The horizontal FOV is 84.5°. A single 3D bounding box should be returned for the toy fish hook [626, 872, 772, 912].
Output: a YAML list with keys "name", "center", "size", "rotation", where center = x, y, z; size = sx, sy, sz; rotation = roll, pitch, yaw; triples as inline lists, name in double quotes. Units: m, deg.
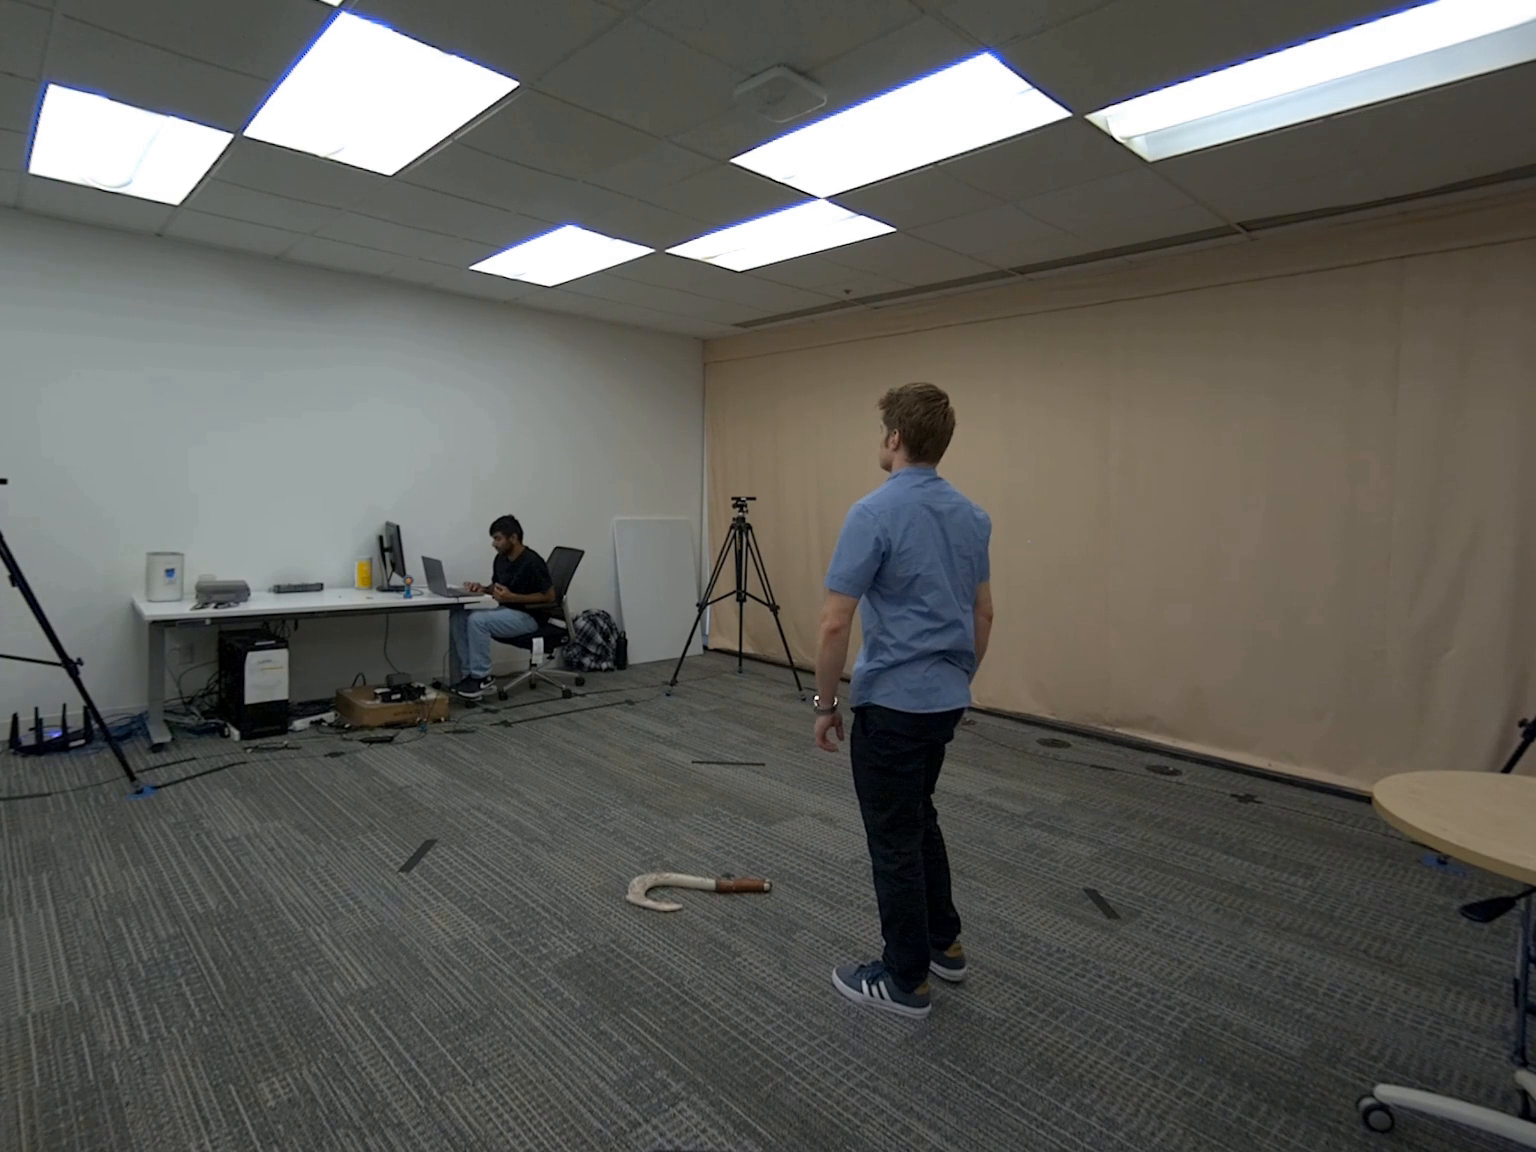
- name: "toy fish hook"
  center: [-0.242, 1.105, 2.931]
  size: [0.506, 0.048, 0.227]
  rotation: [0, 13, 0]
